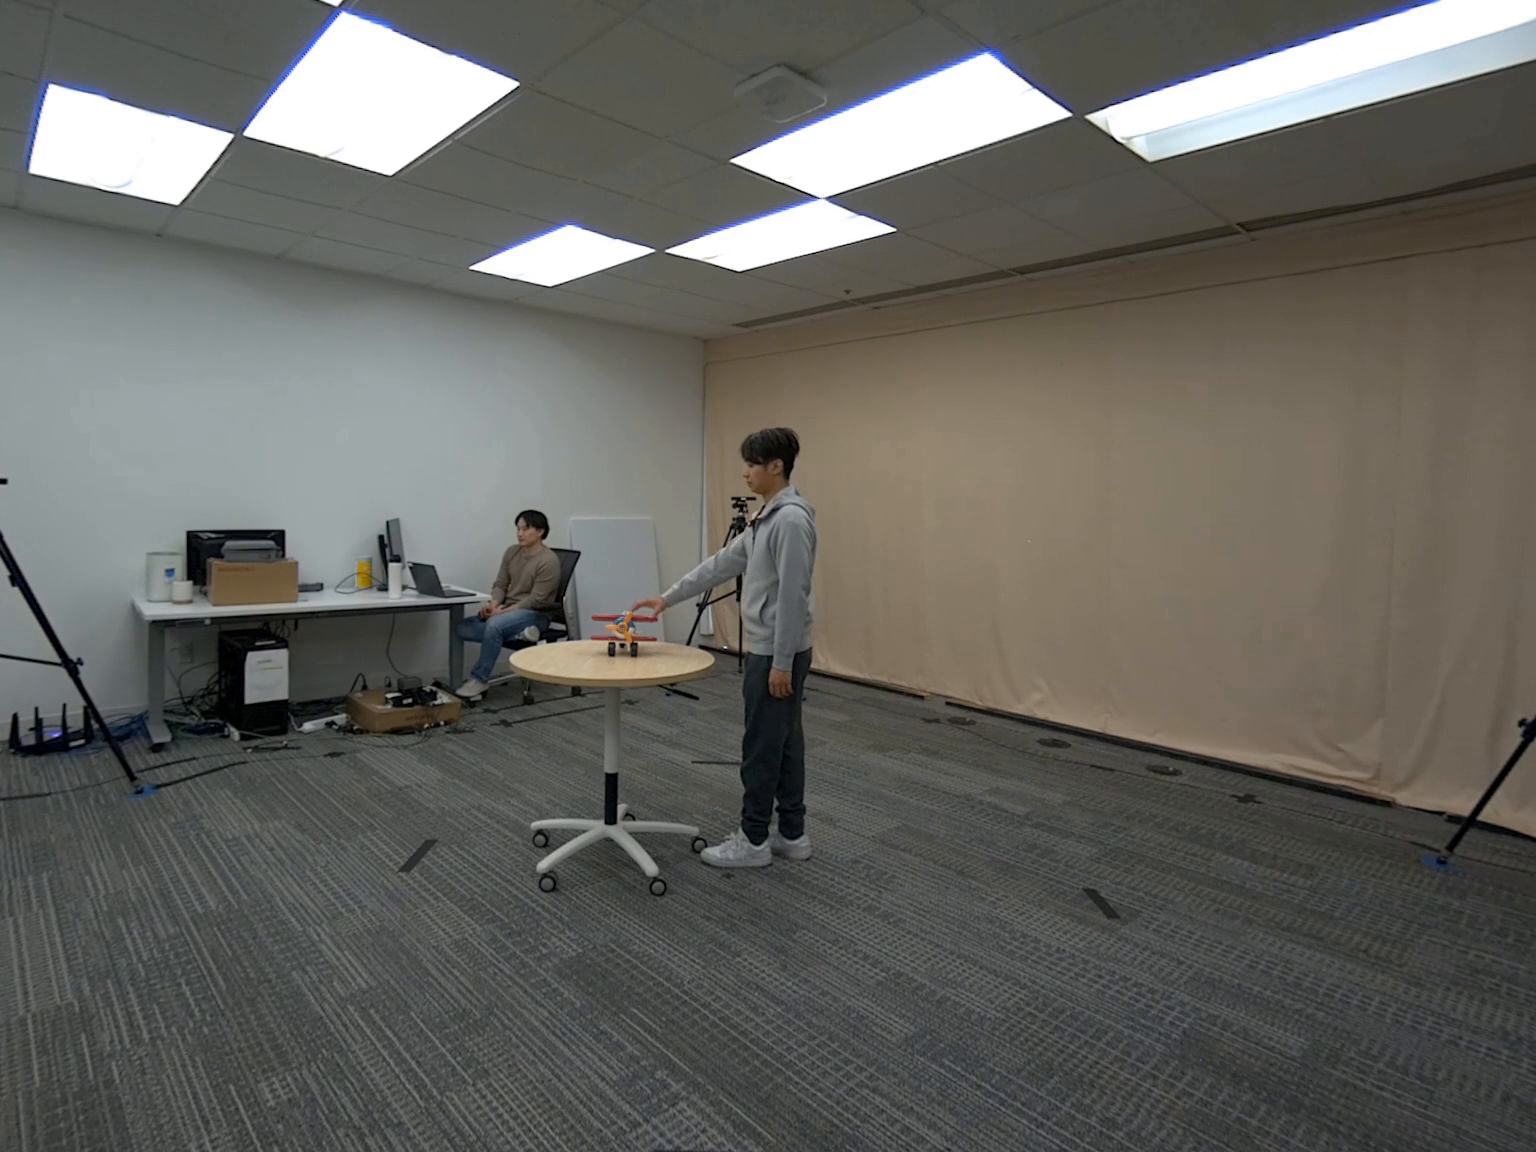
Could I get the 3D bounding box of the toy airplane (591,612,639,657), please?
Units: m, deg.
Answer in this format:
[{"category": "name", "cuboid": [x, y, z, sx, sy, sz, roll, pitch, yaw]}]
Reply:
[{"category": "toy airplane", "cuboid": [-0.586, 0.223, 3.298, 0.246, 0.156, 0.265, 1, 3, -30]}]
